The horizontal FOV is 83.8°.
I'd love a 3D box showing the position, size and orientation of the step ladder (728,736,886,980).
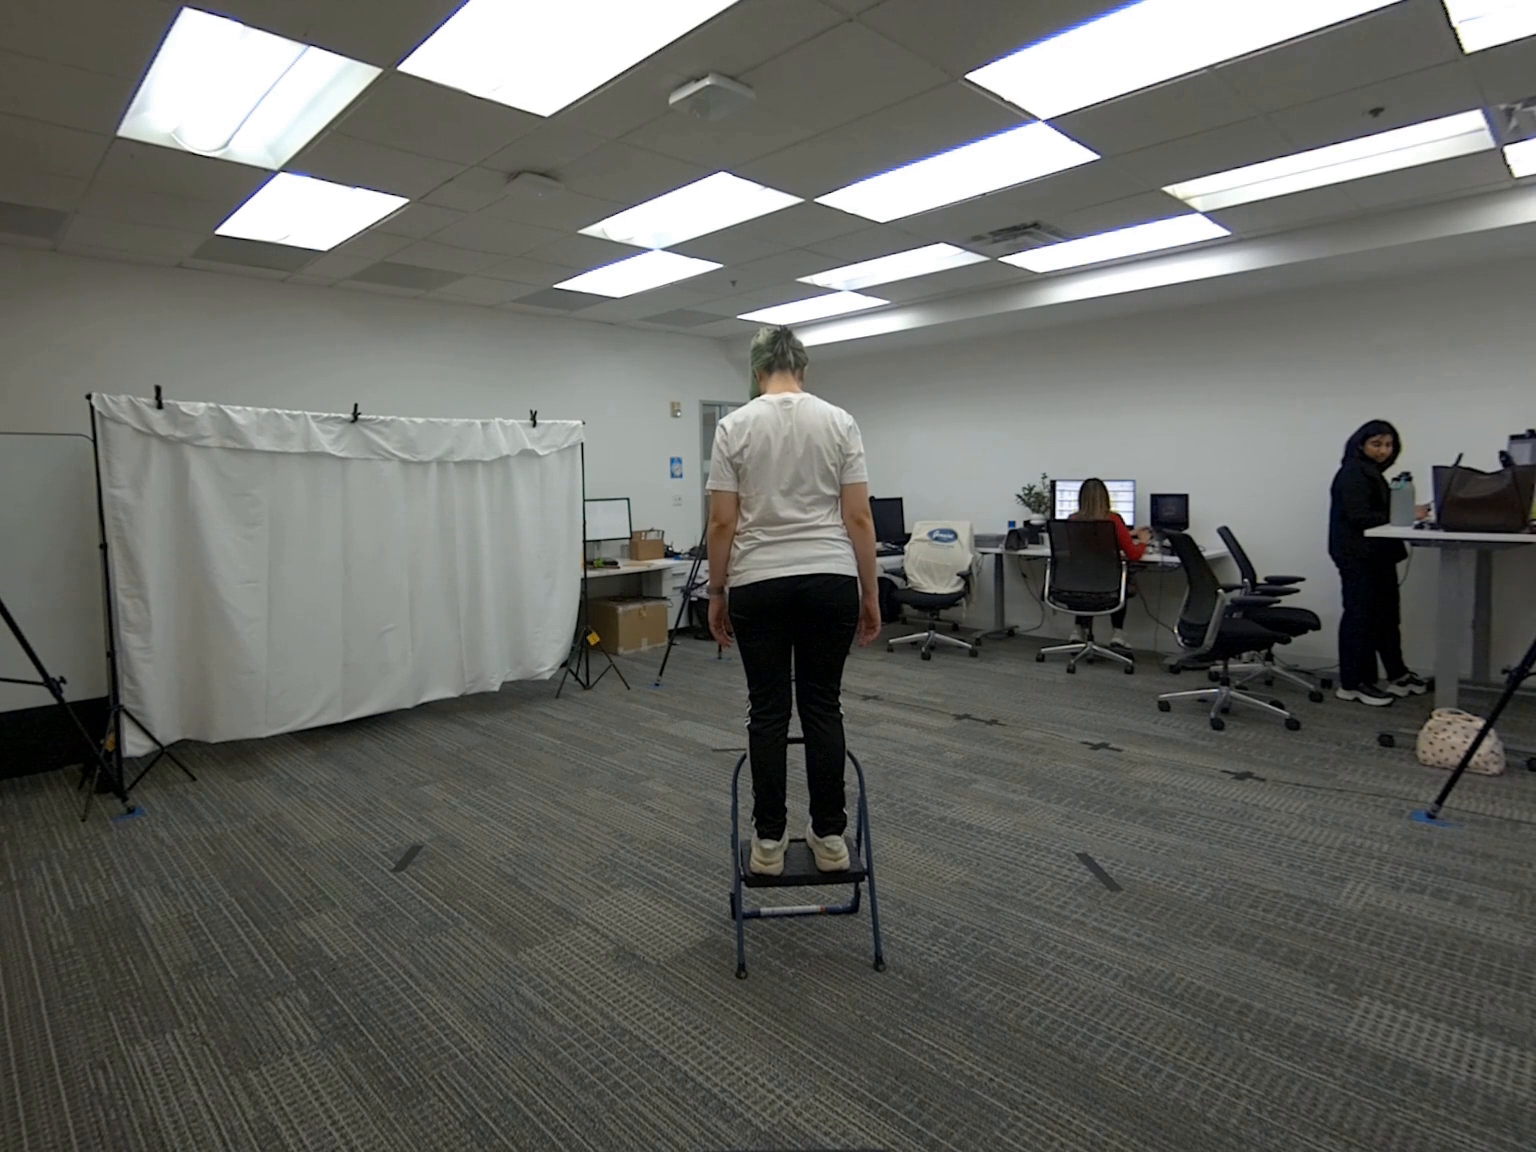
[{"bbox_3d":[0.104,0.808,2.566,0.429,0.603,0.352,-1,5,-5],"label":"step ladder"}]
